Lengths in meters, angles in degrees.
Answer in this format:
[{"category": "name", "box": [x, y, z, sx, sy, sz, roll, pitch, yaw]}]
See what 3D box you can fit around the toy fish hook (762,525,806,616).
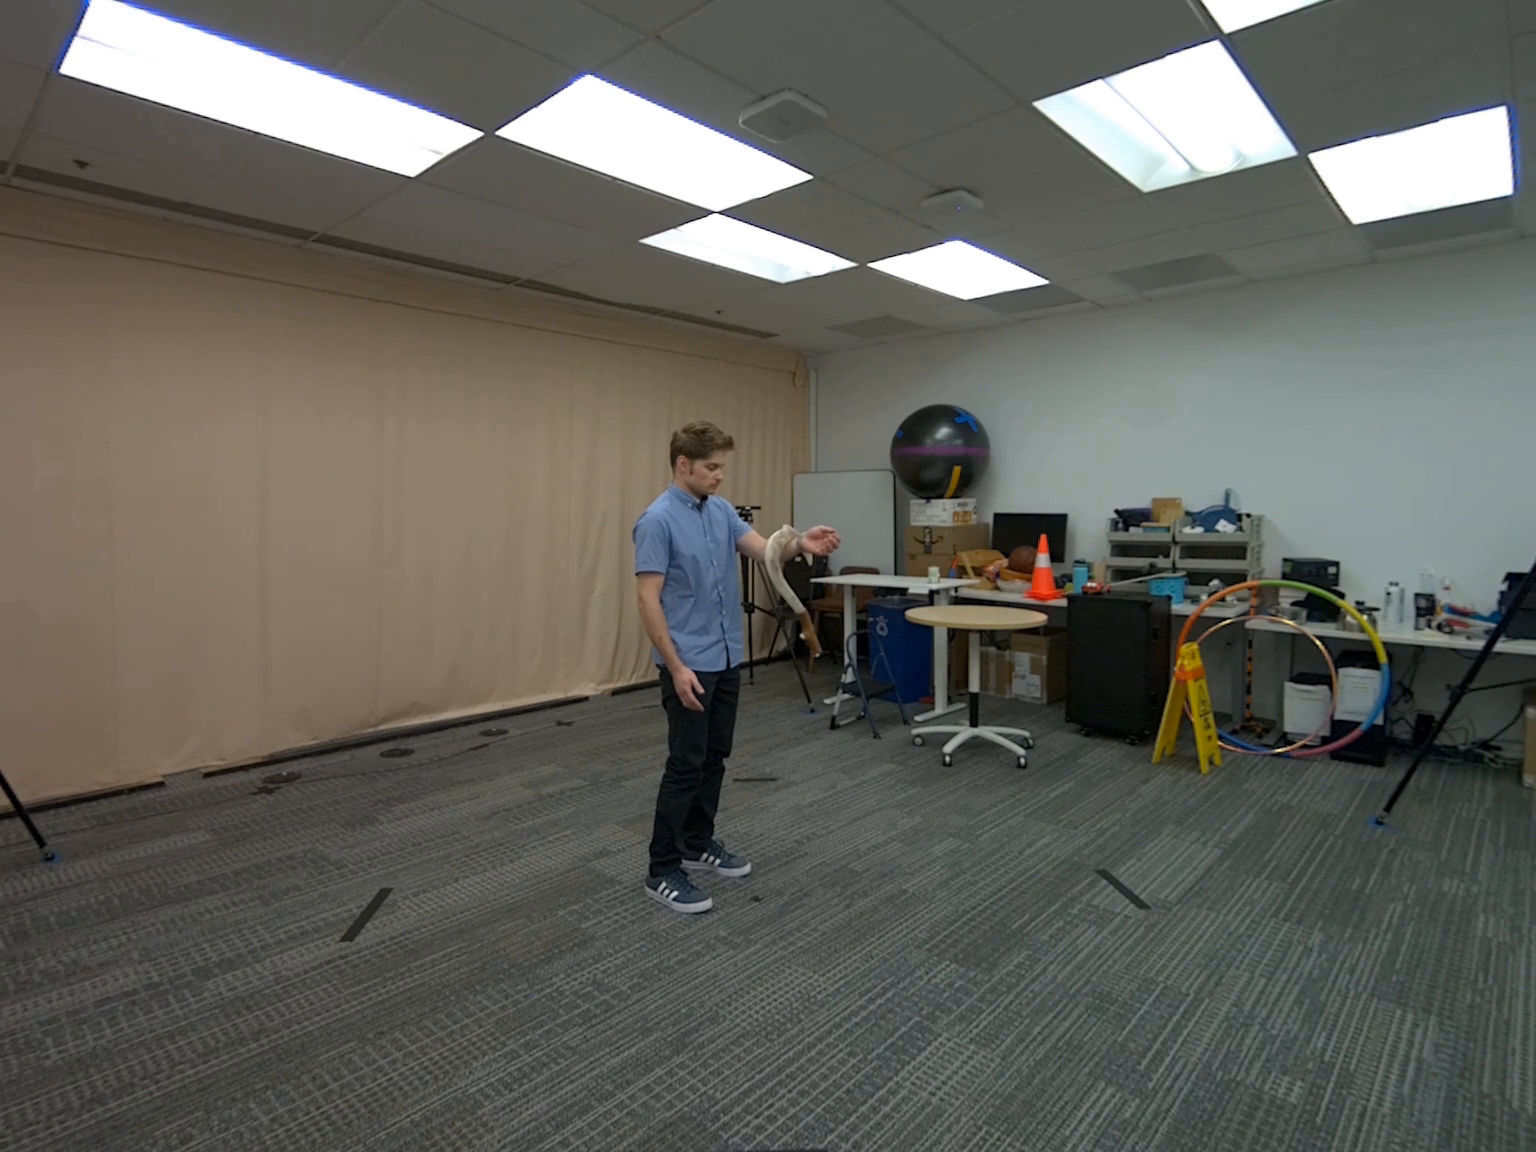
[{"category": "toy fish hook", "box": [0.131, 0.057, 3.048, 0.221, 0.497, 0.050, -35, 24, -30]}]
